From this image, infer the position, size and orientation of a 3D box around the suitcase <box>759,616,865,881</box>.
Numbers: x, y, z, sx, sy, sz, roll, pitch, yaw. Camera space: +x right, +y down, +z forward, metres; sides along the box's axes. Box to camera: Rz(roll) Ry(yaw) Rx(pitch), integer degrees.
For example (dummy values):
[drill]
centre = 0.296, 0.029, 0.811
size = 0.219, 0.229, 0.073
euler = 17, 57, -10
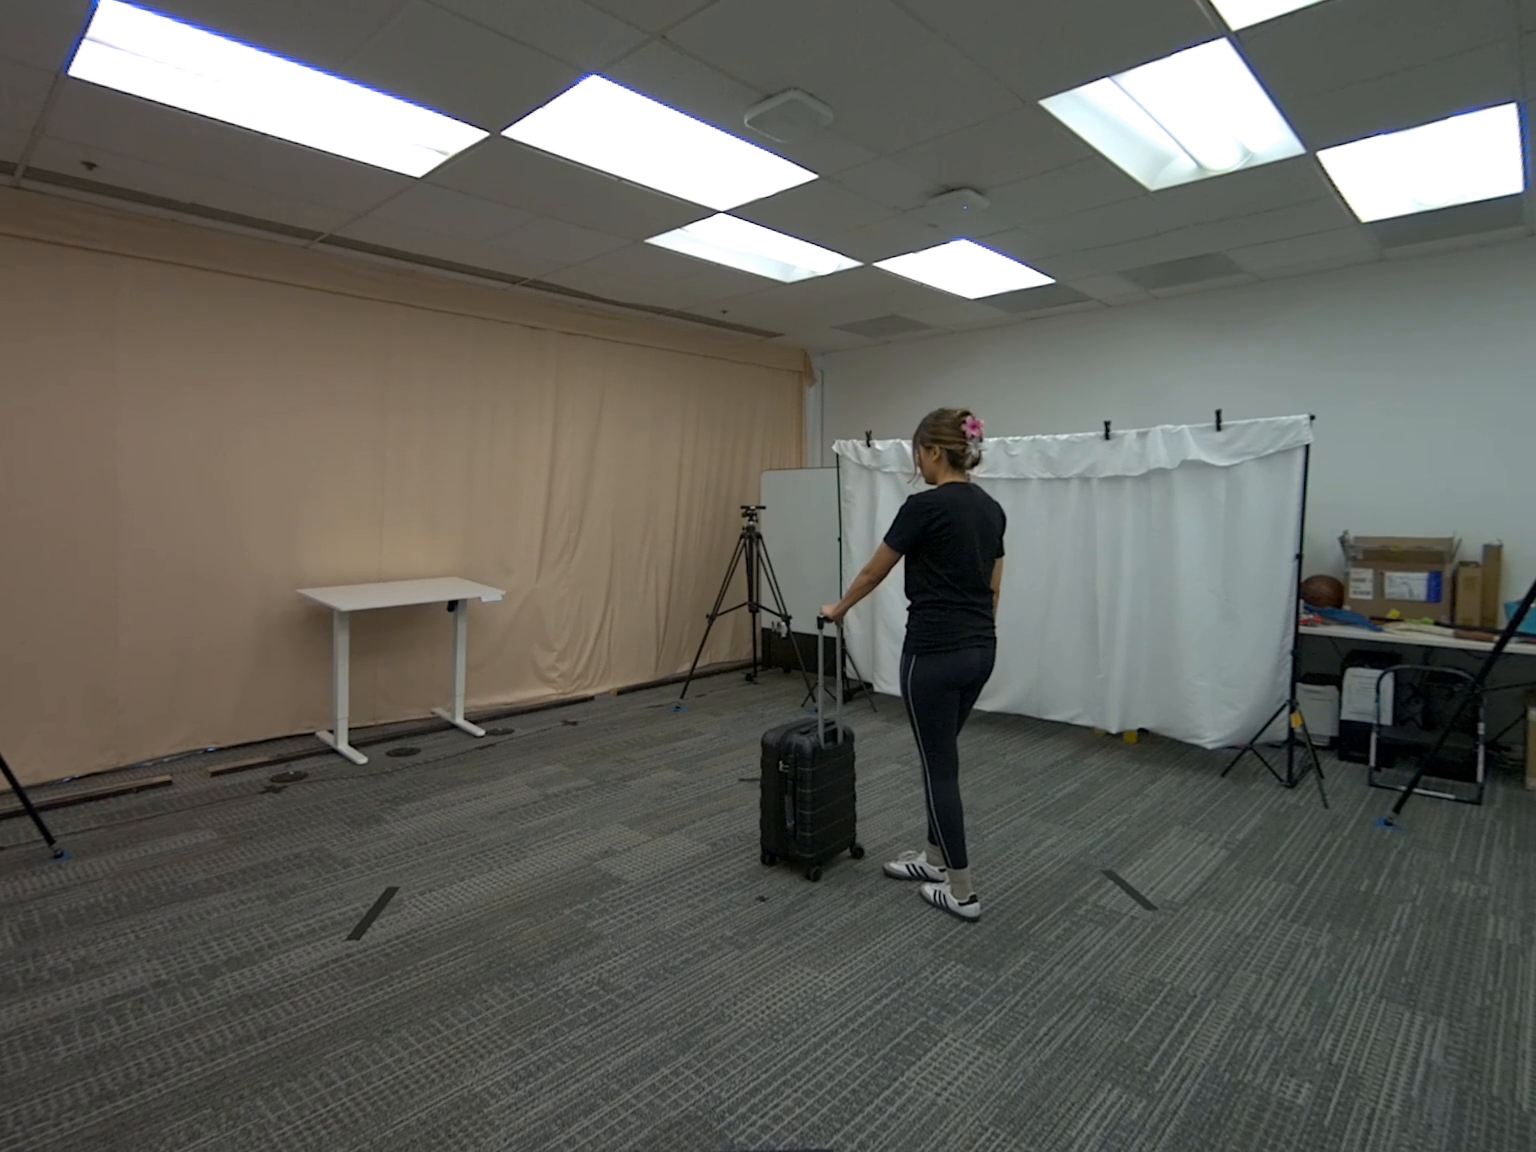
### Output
[suitcase]
centre = 0.155, 0.640, 3.274
size = 0.265, 0.977, 0.372
euler = 1, 3, 41
